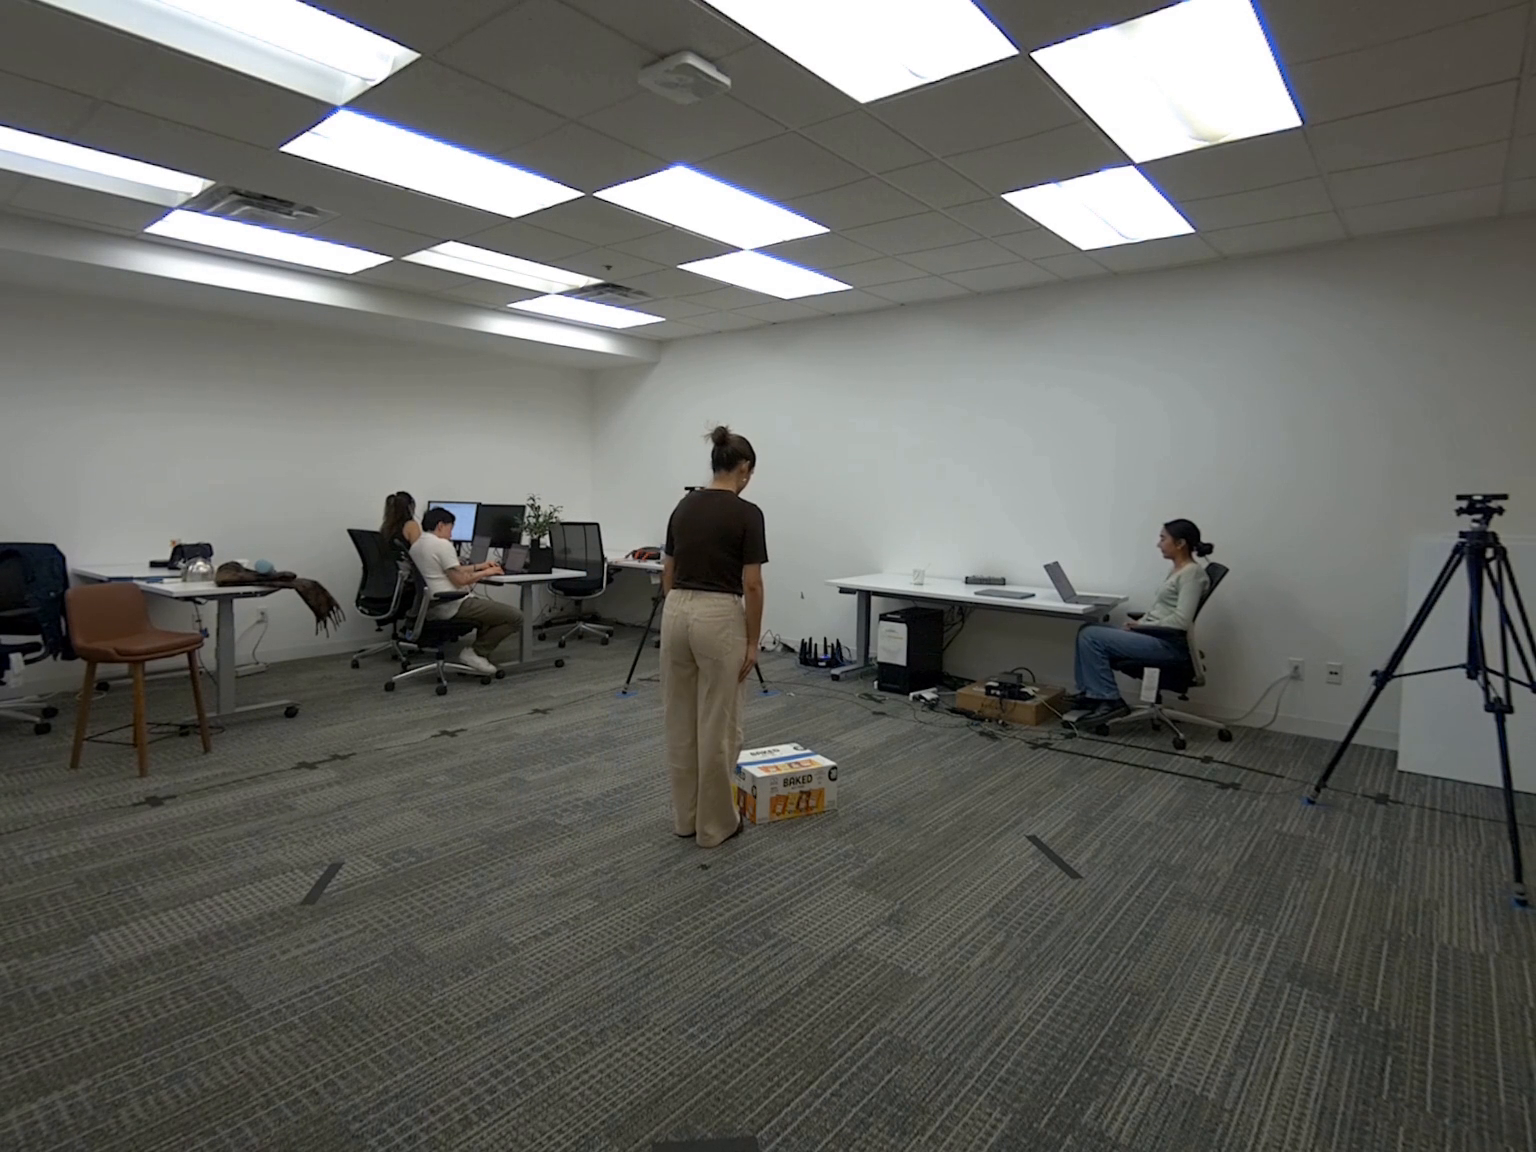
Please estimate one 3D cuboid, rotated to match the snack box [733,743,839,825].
[{"bbox_3d":[0.034,0.904,3.755,0.395,0.205,0.351,-2,6,-29],"label":"snack box"}]
